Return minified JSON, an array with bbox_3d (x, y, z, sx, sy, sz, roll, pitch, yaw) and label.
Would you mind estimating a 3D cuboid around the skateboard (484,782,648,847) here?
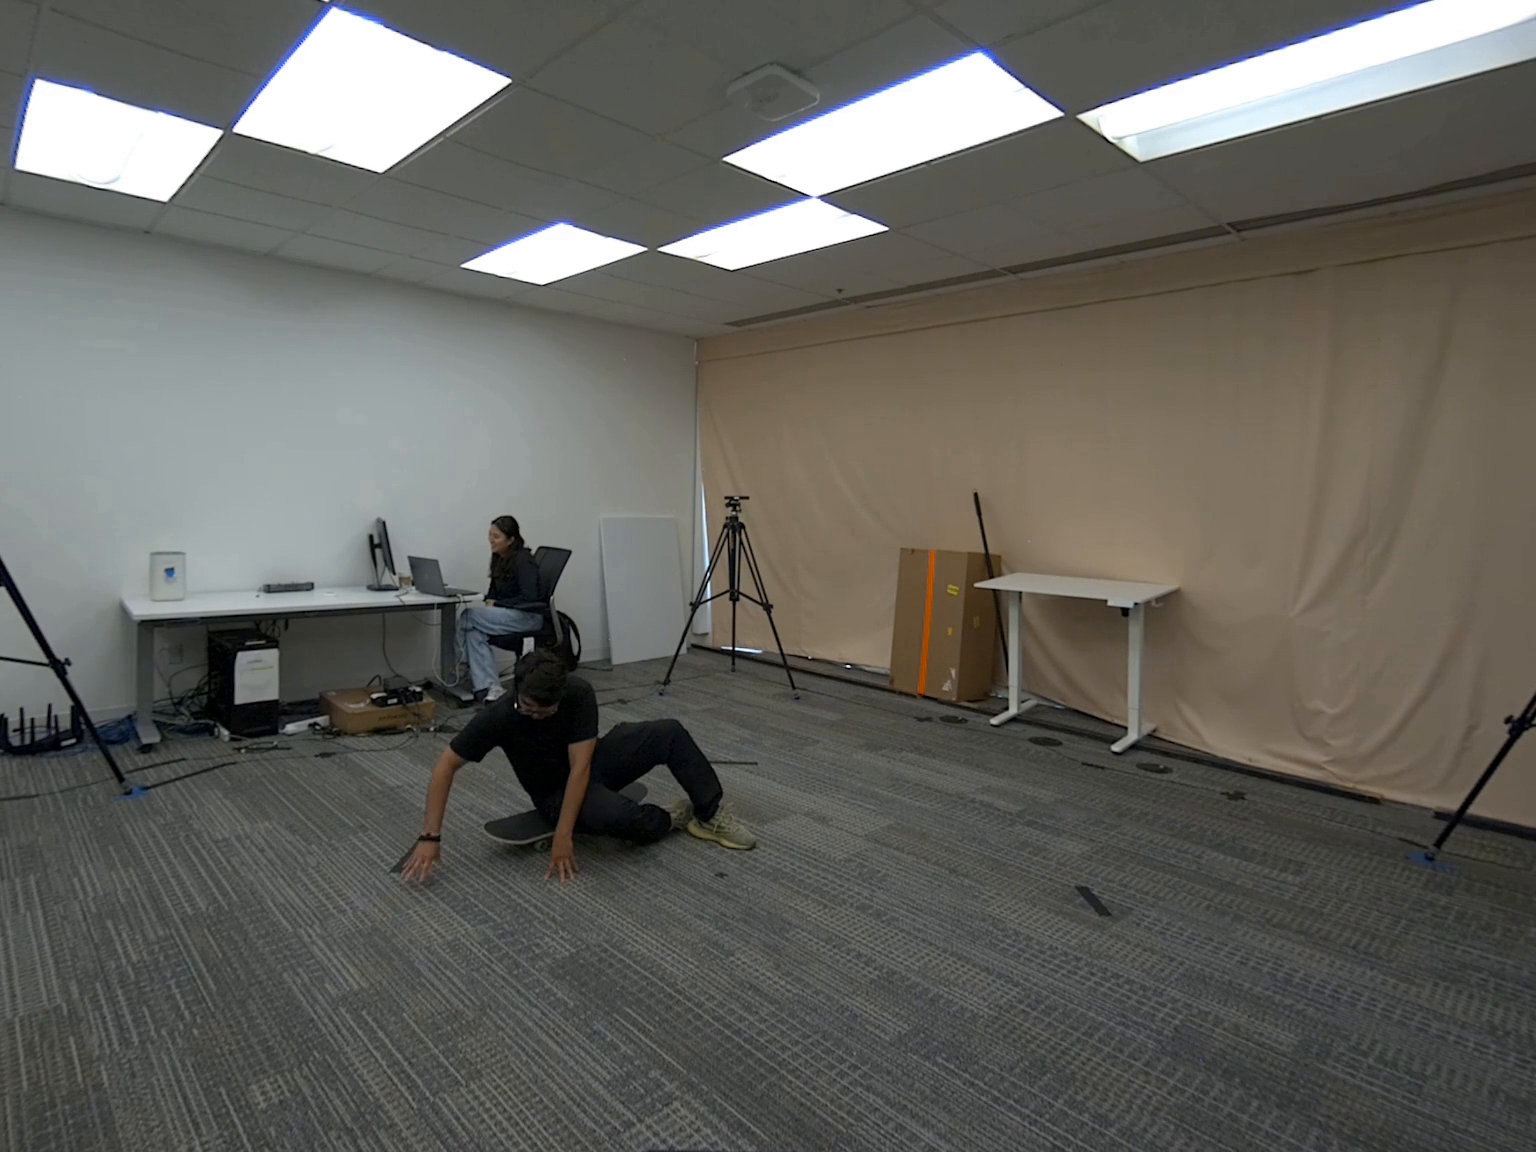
[{"bbox_3d":[-0.816,0.994,3.461,0.199,0.110,0.768,15,13,40],"label":"skateboard"}]
